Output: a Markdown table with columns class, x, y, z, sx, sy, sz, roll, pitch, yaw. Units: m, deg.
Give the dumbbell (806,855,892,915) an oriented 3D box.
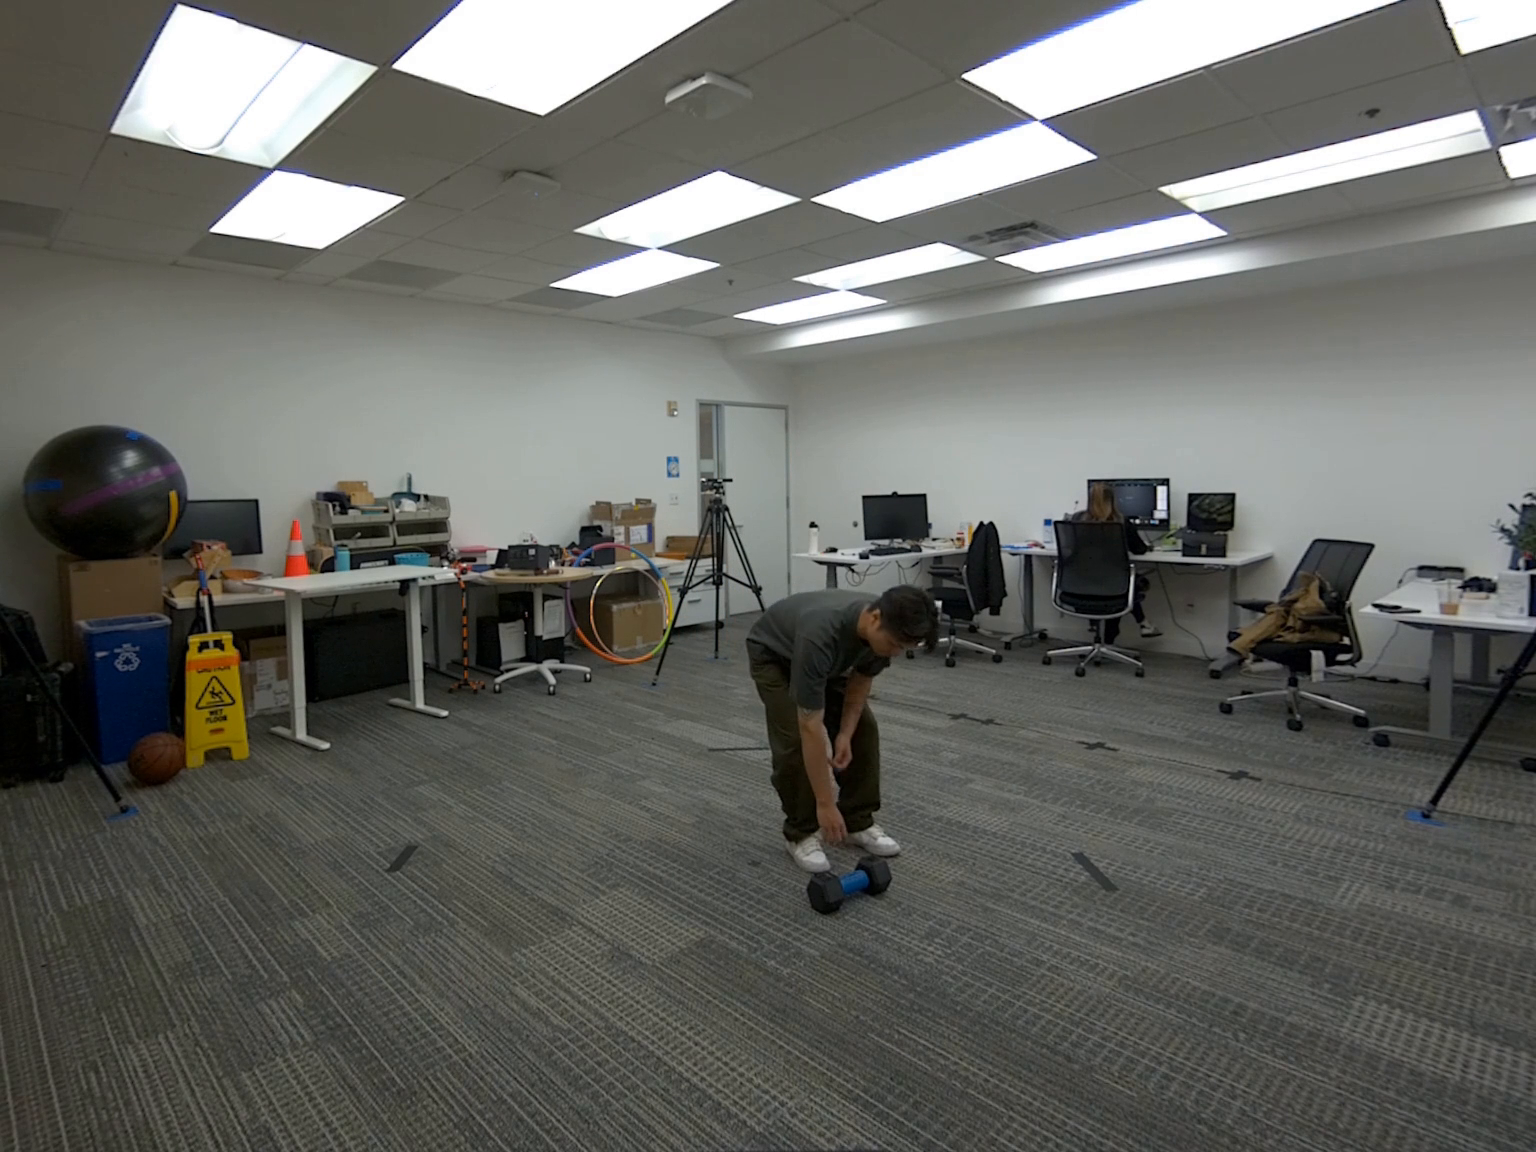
| class | x | y | z | sx | sy | sz | roll | pitch | yaw |
| --- | --- | --- | --- | --- | --- | --- | --- | --- | --- |
| dumbbell | 0.271 | 1.020 | 2.827 | 0.286 | 0.121 | 0.113 | -5 | 36 | -35 |
